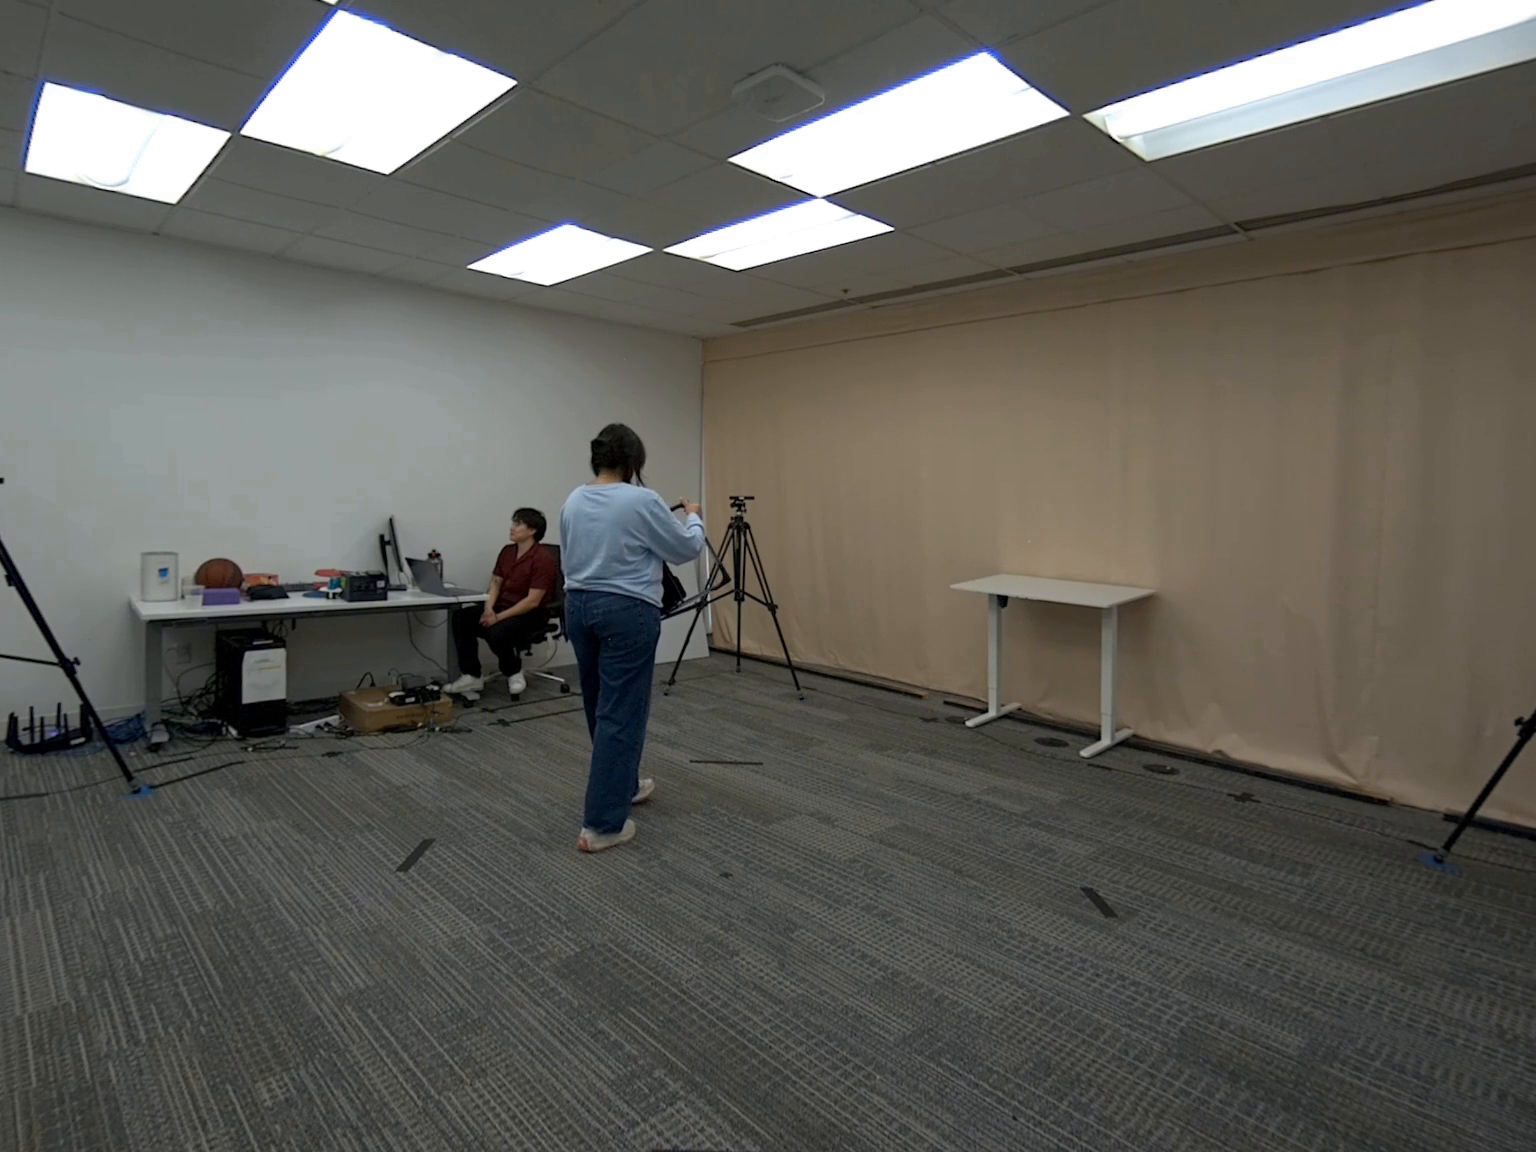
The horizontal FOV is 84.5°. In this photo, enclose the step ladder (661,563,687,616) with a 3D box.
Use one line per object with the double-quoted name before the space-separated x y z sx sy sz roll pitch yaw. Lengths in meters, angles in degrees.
"step ladder" -0.556 0.007 3.712 0.611 0.429 0.347 -26 4 25
